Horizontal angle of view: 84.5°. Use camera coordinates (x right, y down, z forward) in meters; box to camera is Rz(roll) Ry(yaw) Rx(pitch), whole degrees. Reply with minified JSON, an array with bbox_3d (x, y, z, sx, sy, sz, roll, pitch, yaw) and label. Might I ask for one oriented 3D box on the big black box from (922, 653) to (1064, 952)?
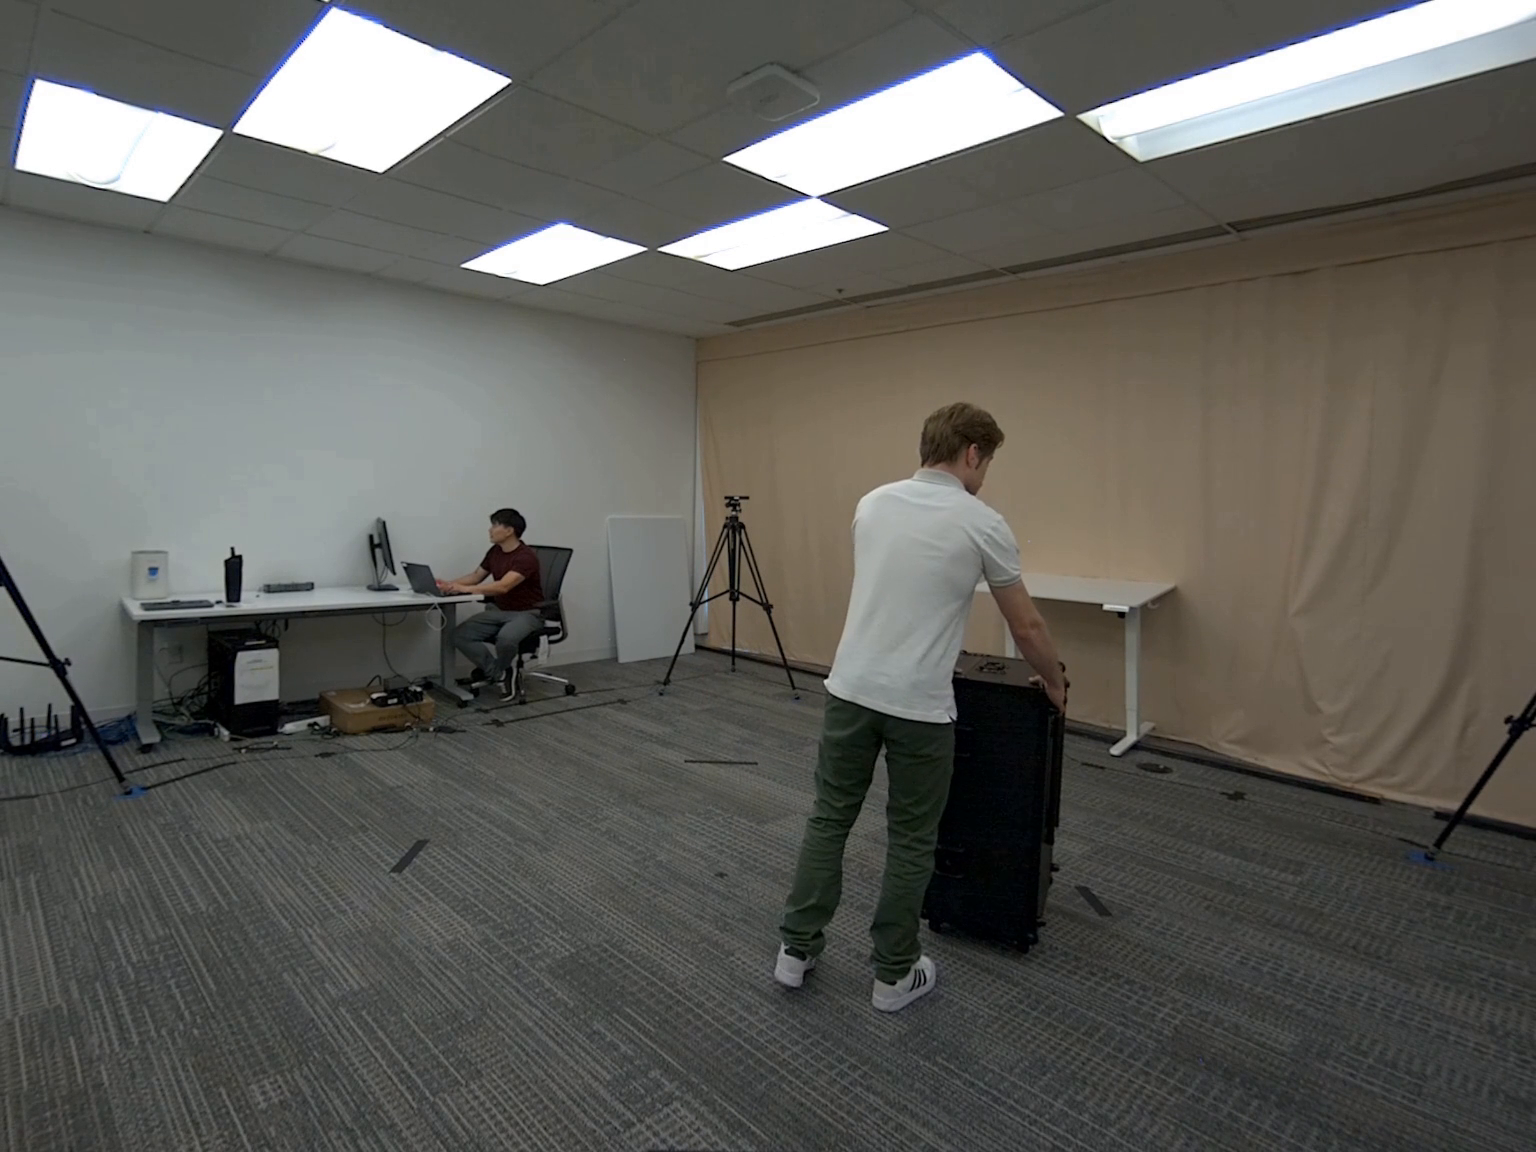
[{"bbox_3d":[0.757,0.733,2.801,0.392,0.866,0.515,4,4,24],"label":"big black box"}]
